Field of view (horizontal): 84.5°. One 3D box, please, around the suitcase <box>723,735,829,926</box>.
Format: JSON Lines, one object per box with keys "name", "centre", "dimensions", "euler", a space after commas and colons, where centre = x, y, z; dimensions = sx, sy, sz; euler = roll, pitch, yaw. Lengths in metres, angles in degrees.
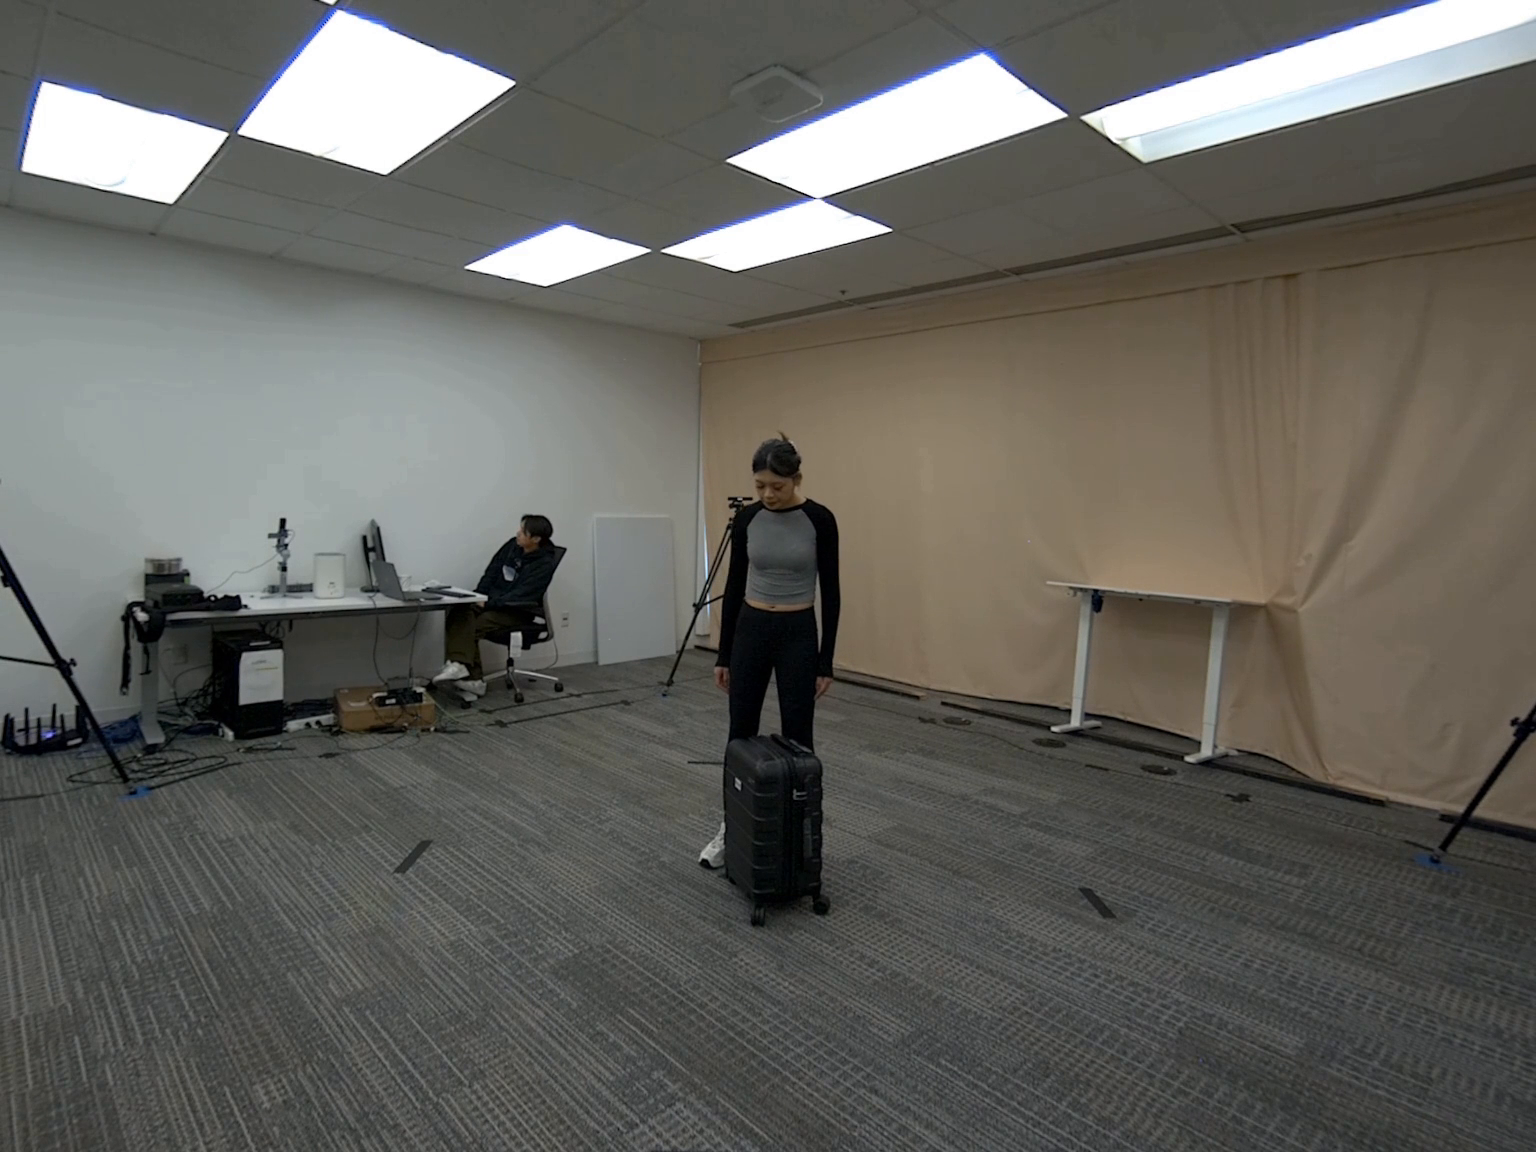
{"name": "suitcase", "centre": [0.011, 0.847, 2.928], "dimensions": [0.244, 0.548, 0.382], "euler": [0, 4, -21]}
